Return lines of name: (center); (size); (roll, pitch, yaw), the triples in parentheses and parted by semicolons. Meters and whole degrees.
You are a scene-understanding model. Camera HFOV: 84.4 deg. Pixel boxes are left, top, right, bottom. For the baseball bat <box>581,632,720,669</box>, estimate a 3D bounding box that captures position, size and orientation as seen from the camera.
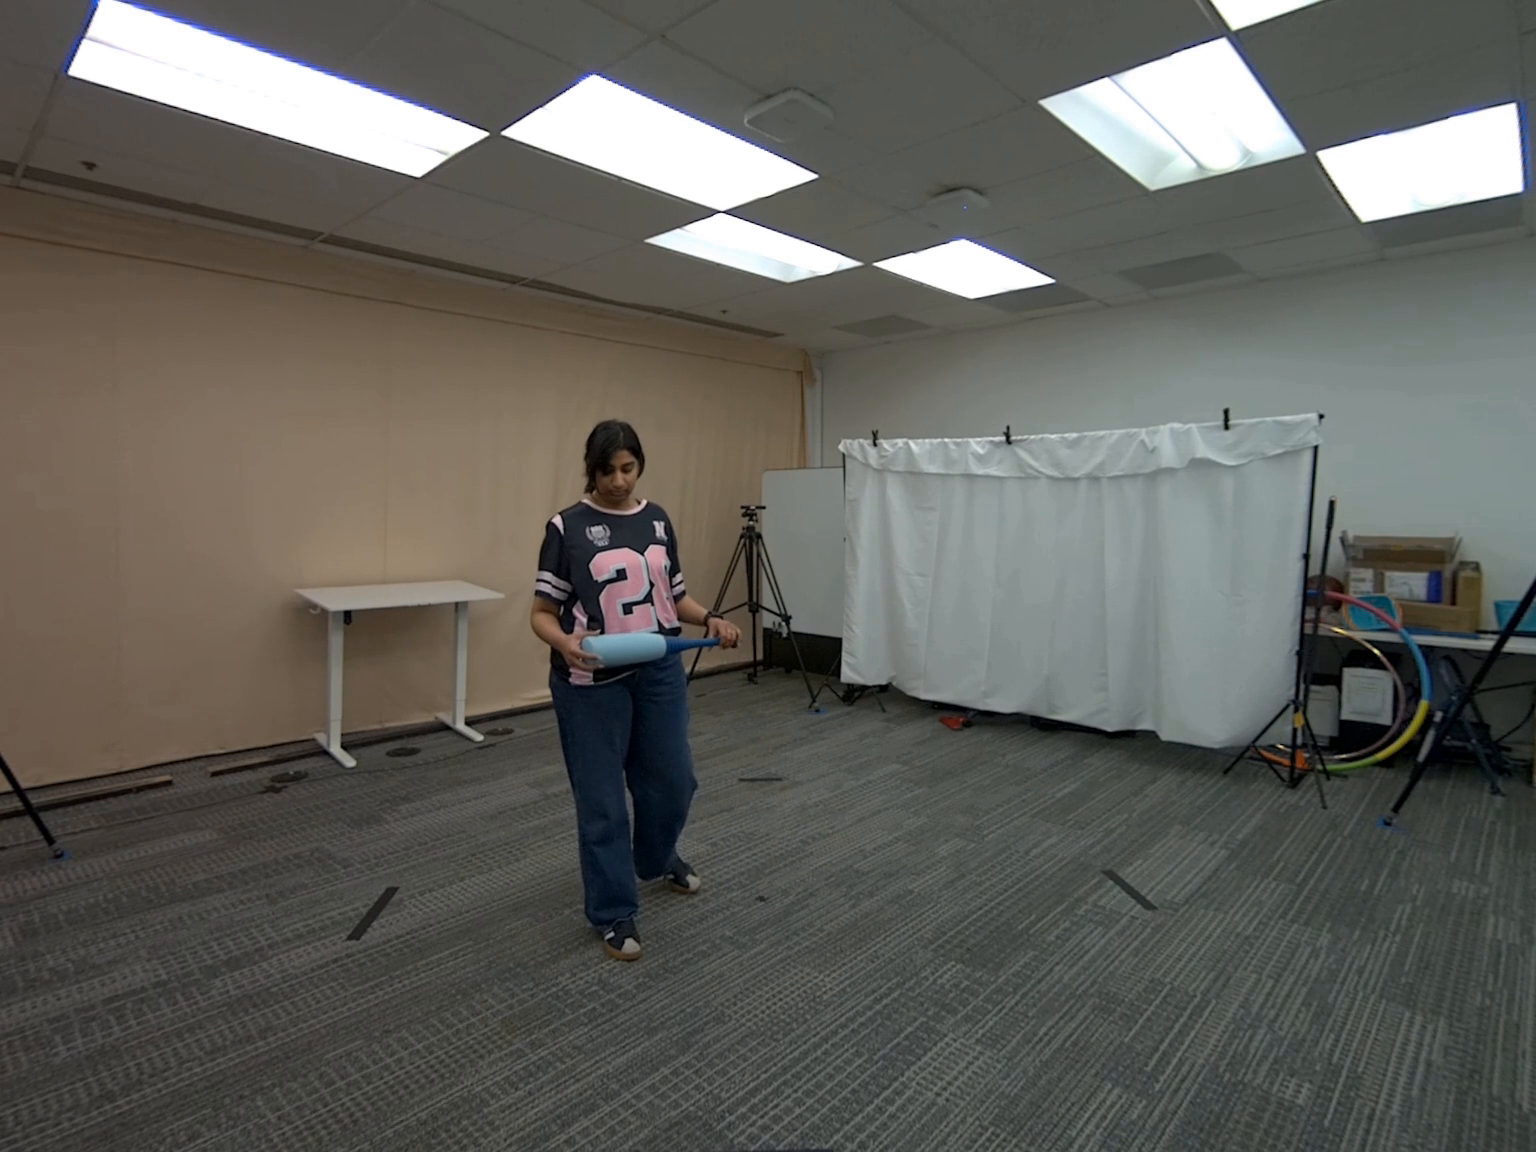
baseball bat: (-0.307, 0.209, 2.480); (0.526, 0.089, 0.092); (-1, 3, -41)
